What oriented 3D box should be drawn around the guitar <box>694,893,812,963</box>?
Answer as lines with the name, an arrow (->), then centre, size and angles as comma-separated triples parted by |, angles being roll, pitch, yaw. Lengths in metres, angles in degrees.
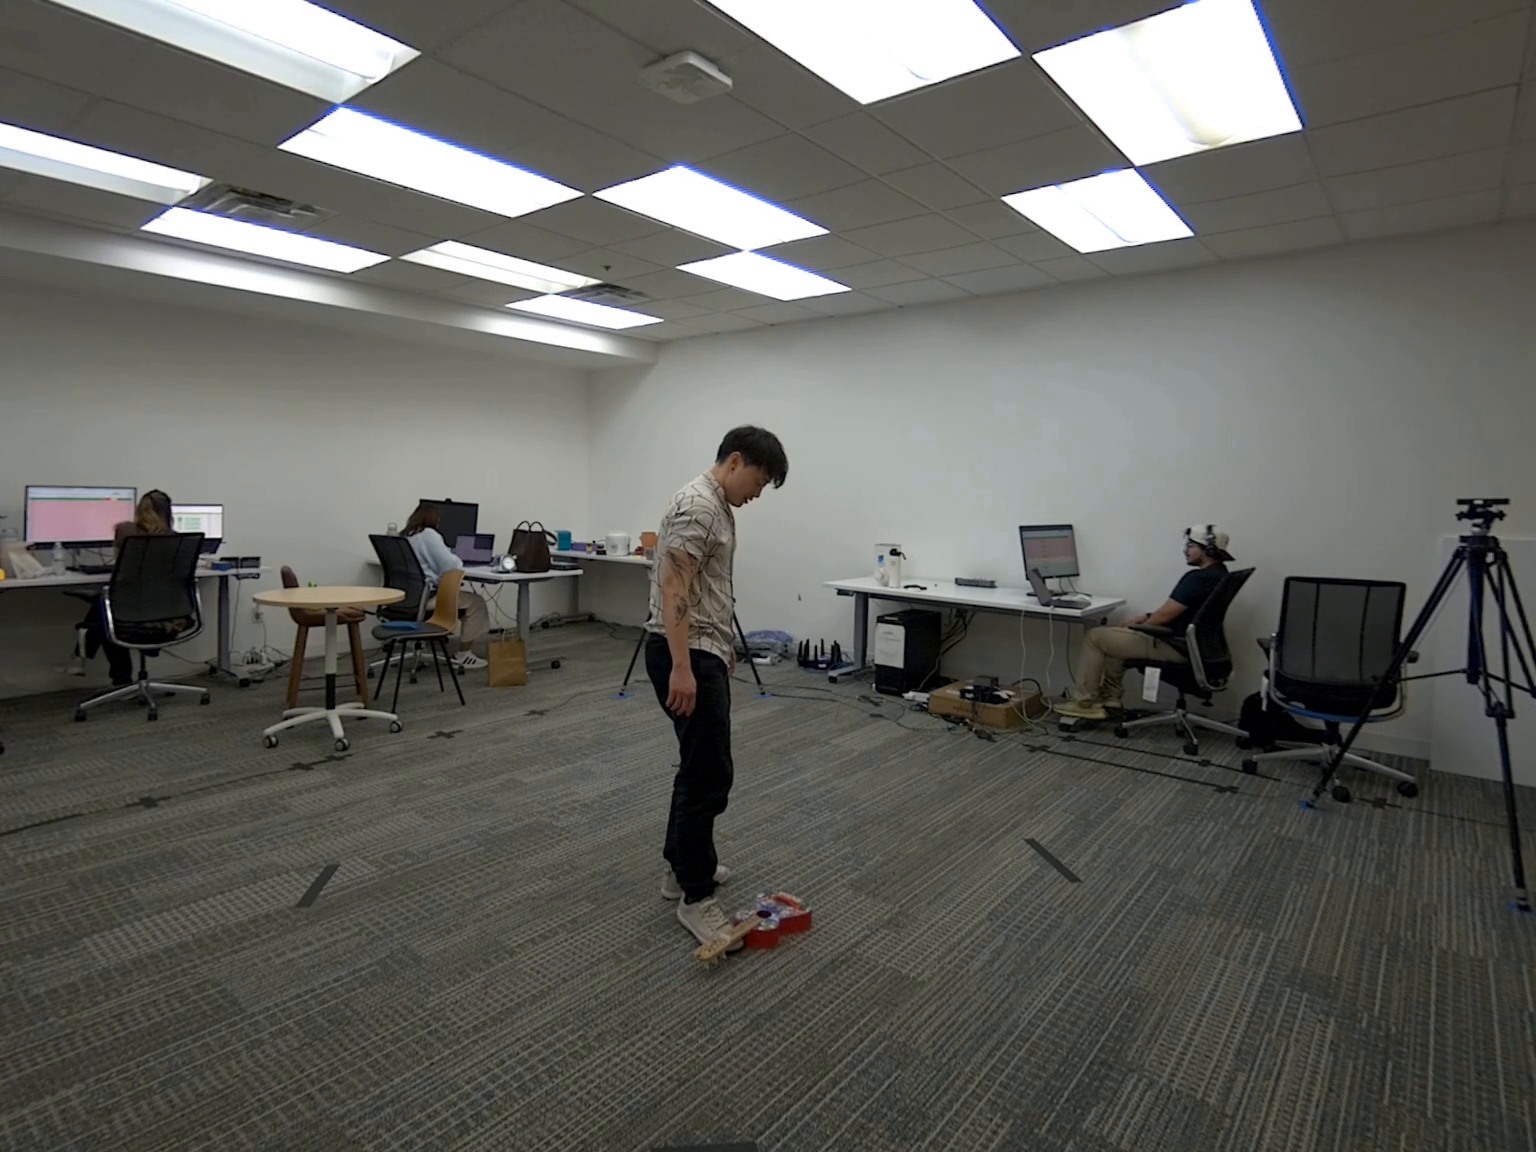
guitar -> -0.084, 1.085, 2.626 | 0.483, 0.070, 0.200 | -4, 7, -44
